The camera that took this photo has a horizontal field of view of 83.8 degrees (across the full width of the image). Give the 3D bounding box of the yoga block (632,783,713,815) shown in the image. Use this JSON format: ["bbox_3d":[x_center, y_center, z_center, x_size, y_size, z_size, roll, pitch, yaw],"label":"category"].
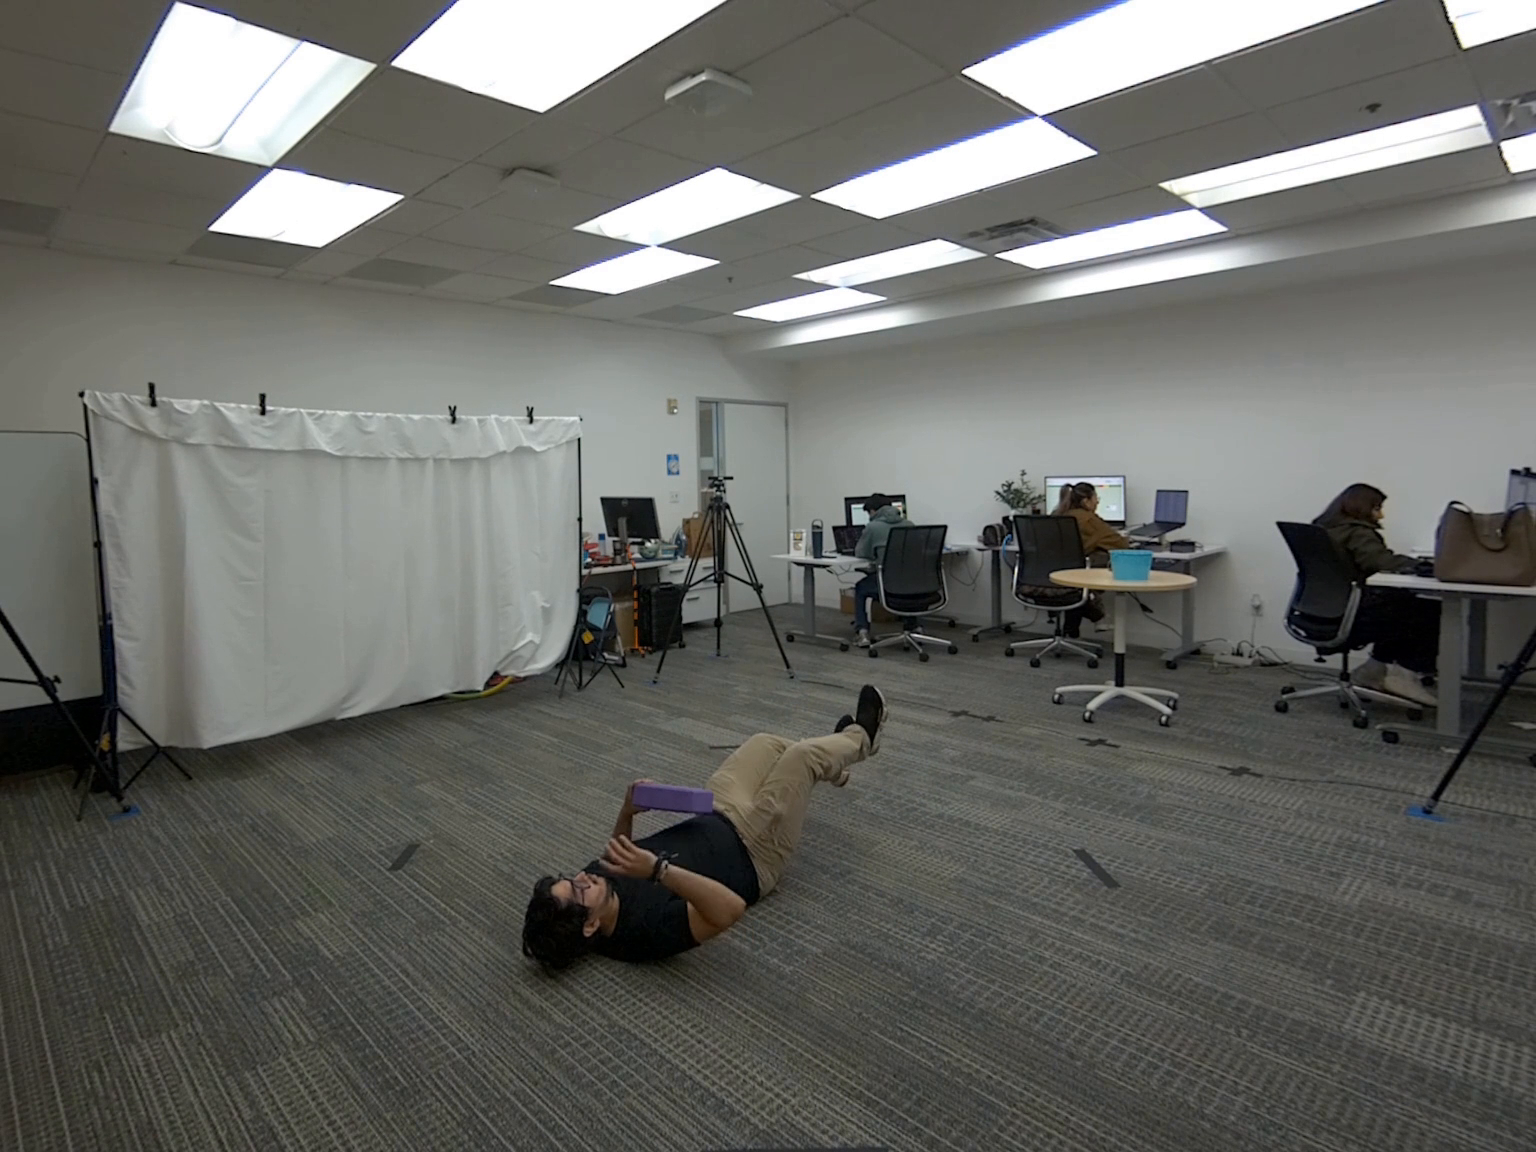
[{"bbox_3d":[-0.307,0.740,2.815,0.234,0.077,0.144,-2,-13,25],"label":"yoga block"}]
